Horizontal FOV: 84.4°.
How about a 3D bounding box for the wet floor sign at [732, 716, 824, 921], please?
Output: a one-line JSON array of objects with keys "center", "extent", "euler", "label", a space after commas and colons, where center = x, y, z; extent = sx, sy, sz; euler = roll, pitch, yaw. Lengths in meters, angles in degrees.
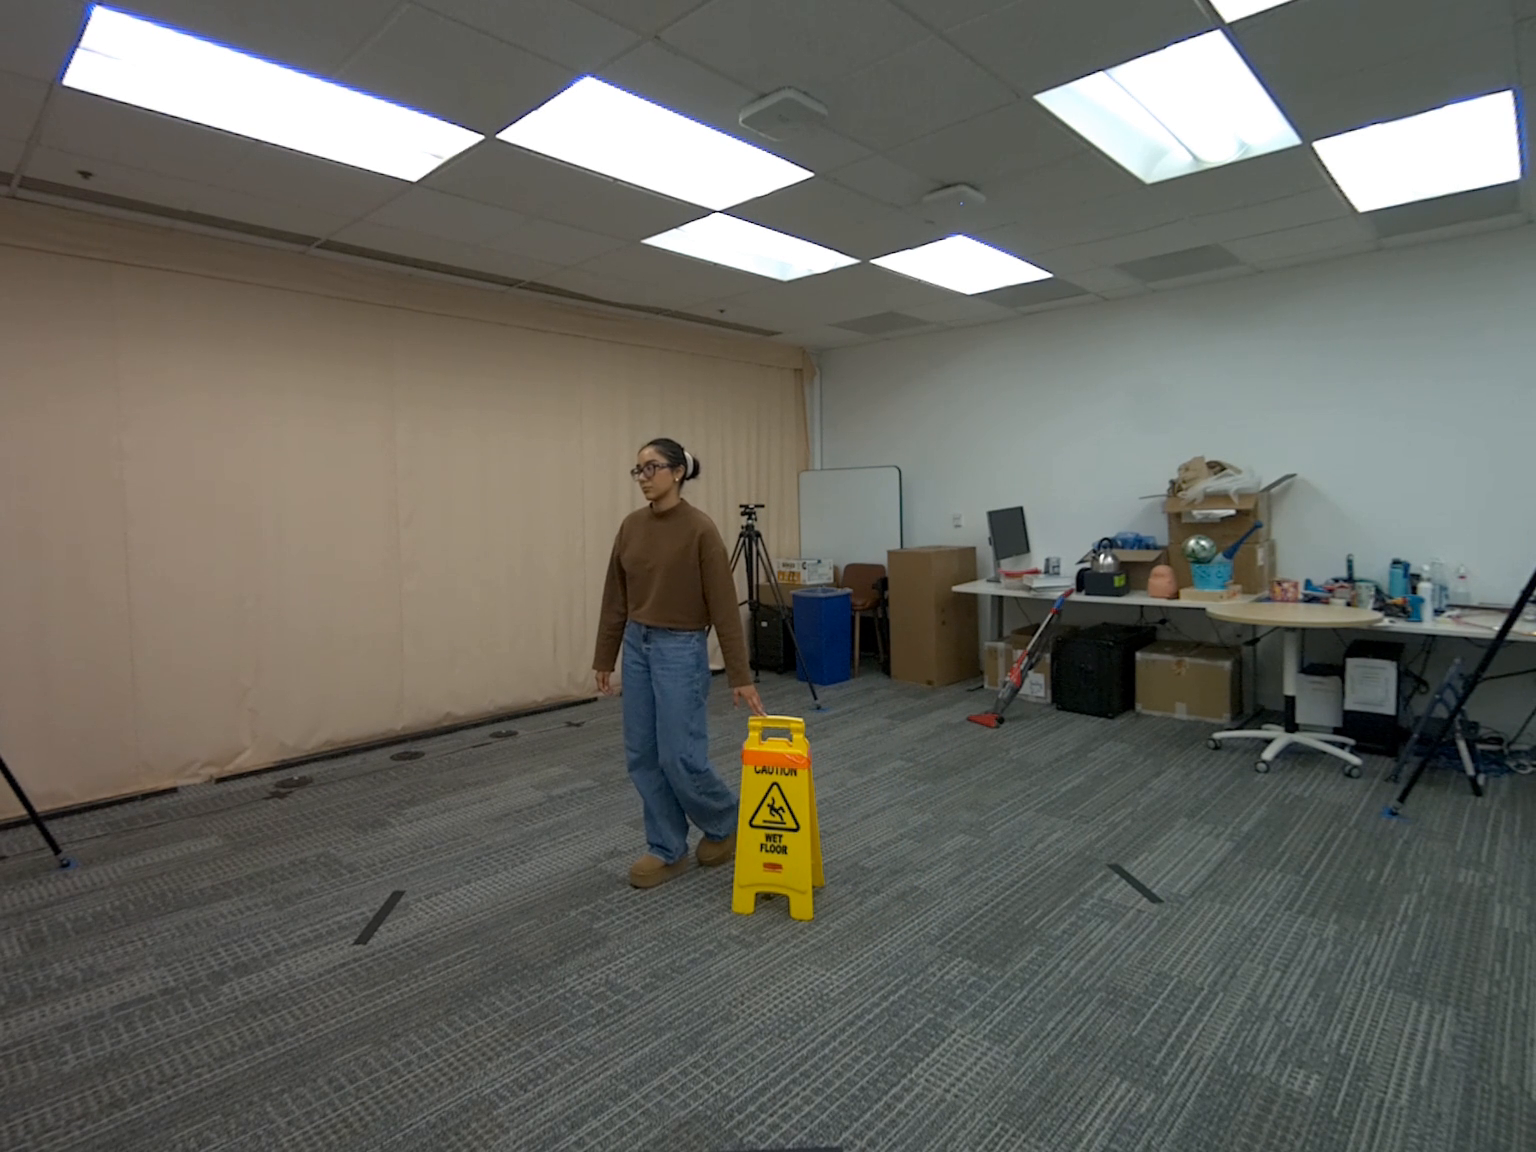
[{"center": [0.040, 0.816, 2.963], "extent": [0.287, 0.645, 0.286], "euler": [1, 3, 13], "label": "wet floor sign"}]
